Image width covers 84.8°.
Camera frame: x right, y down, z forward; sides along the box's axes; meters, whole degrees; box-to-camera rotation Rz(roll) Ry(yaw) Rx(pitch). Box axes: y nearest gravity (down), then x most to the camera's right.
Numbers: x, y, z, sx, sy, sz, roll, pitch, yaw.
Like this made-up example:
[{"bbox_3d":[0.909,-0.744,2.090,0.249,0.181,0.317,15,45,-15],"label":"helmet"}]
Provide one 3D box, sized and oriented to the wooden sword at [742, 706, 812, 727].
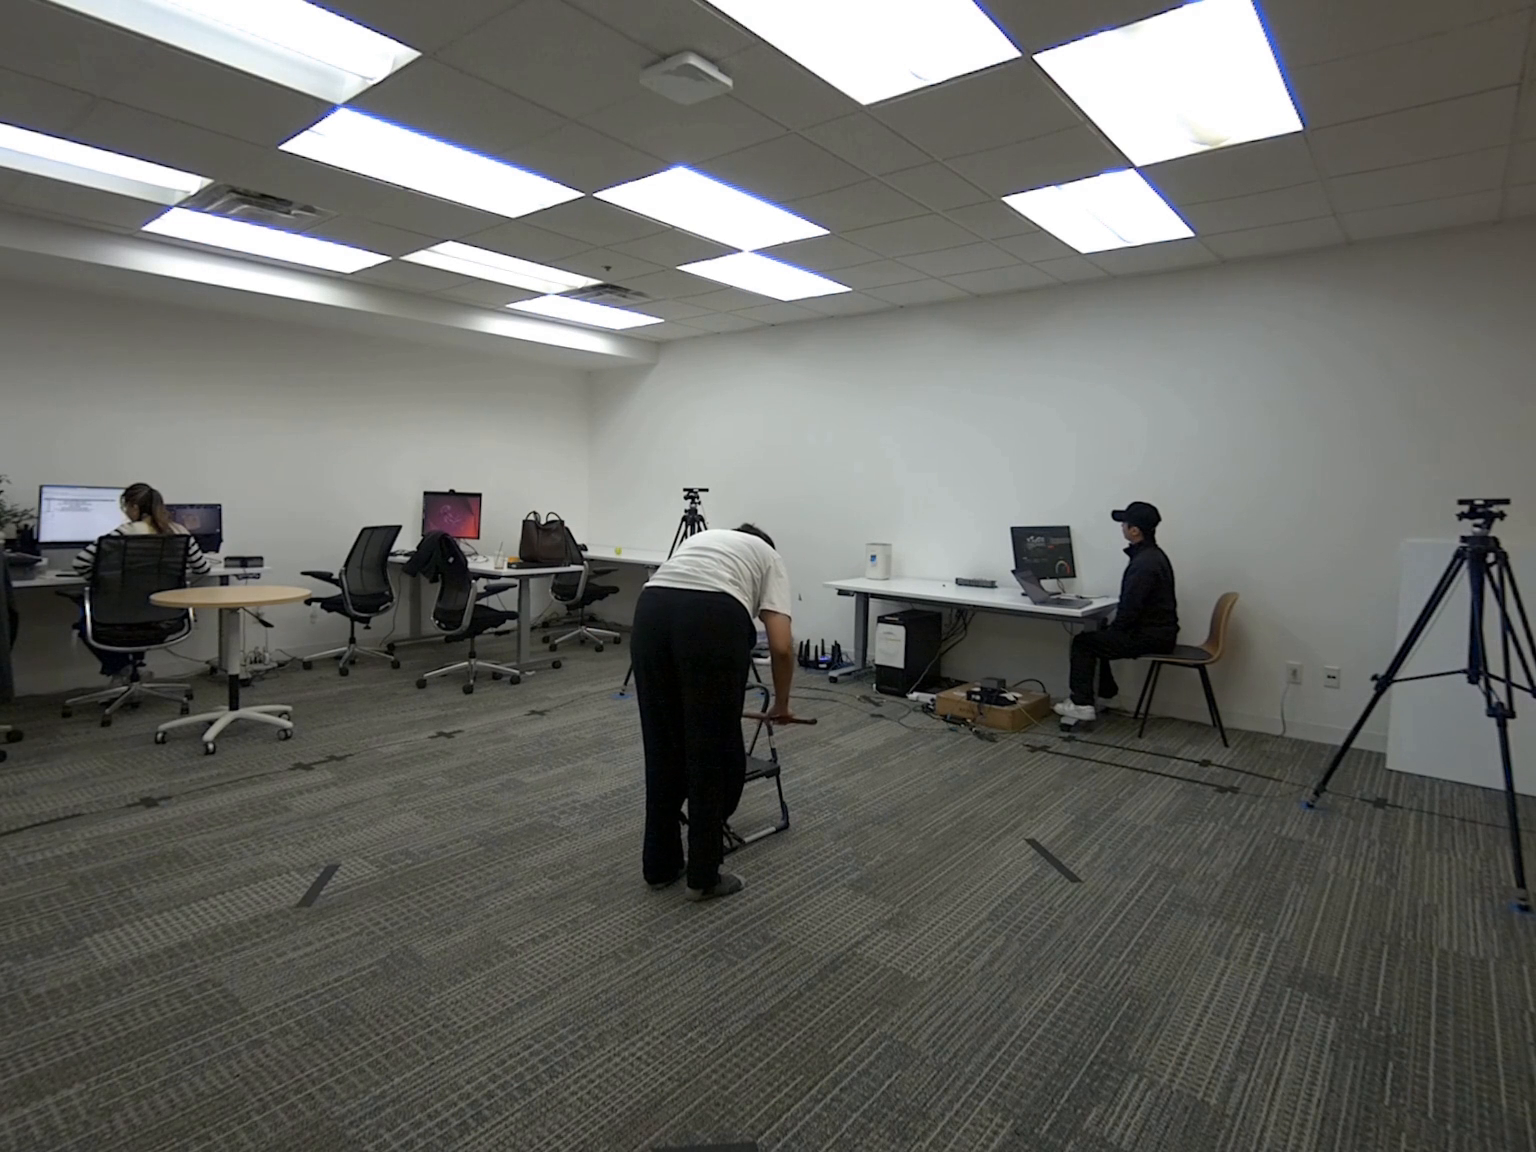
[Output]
[{"bbox_3d":[-0.133,0.543,3.393,0.050,0.024,1.046,-25,8,-29],"label":"wooden sword"}]
